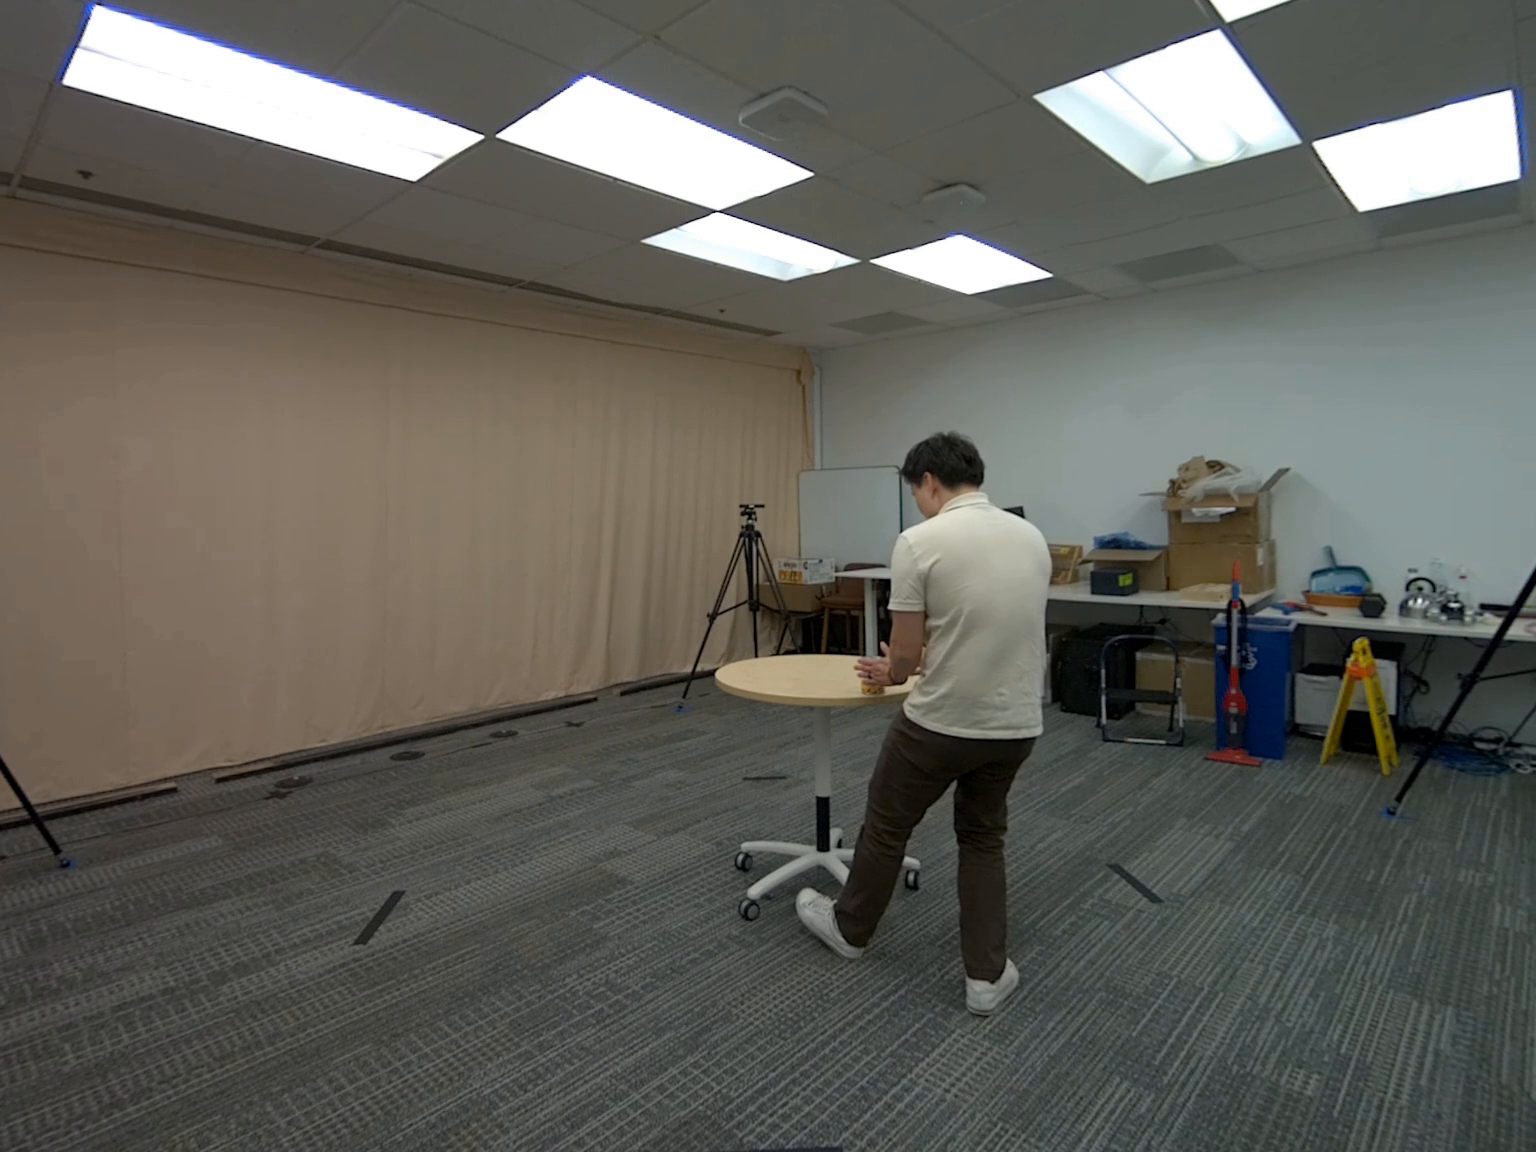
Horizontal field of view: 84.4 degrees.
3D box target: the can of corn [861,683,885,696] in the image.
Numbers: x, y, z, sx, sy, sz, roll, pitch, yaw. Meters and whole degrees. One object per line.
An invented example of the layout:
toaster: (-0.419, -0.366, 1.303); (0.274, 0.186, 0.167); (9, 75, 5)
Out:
can of corn: (0.347, 0.321, 2.687); (0.074, 0.111, 0.074); (4, 4, -2)
